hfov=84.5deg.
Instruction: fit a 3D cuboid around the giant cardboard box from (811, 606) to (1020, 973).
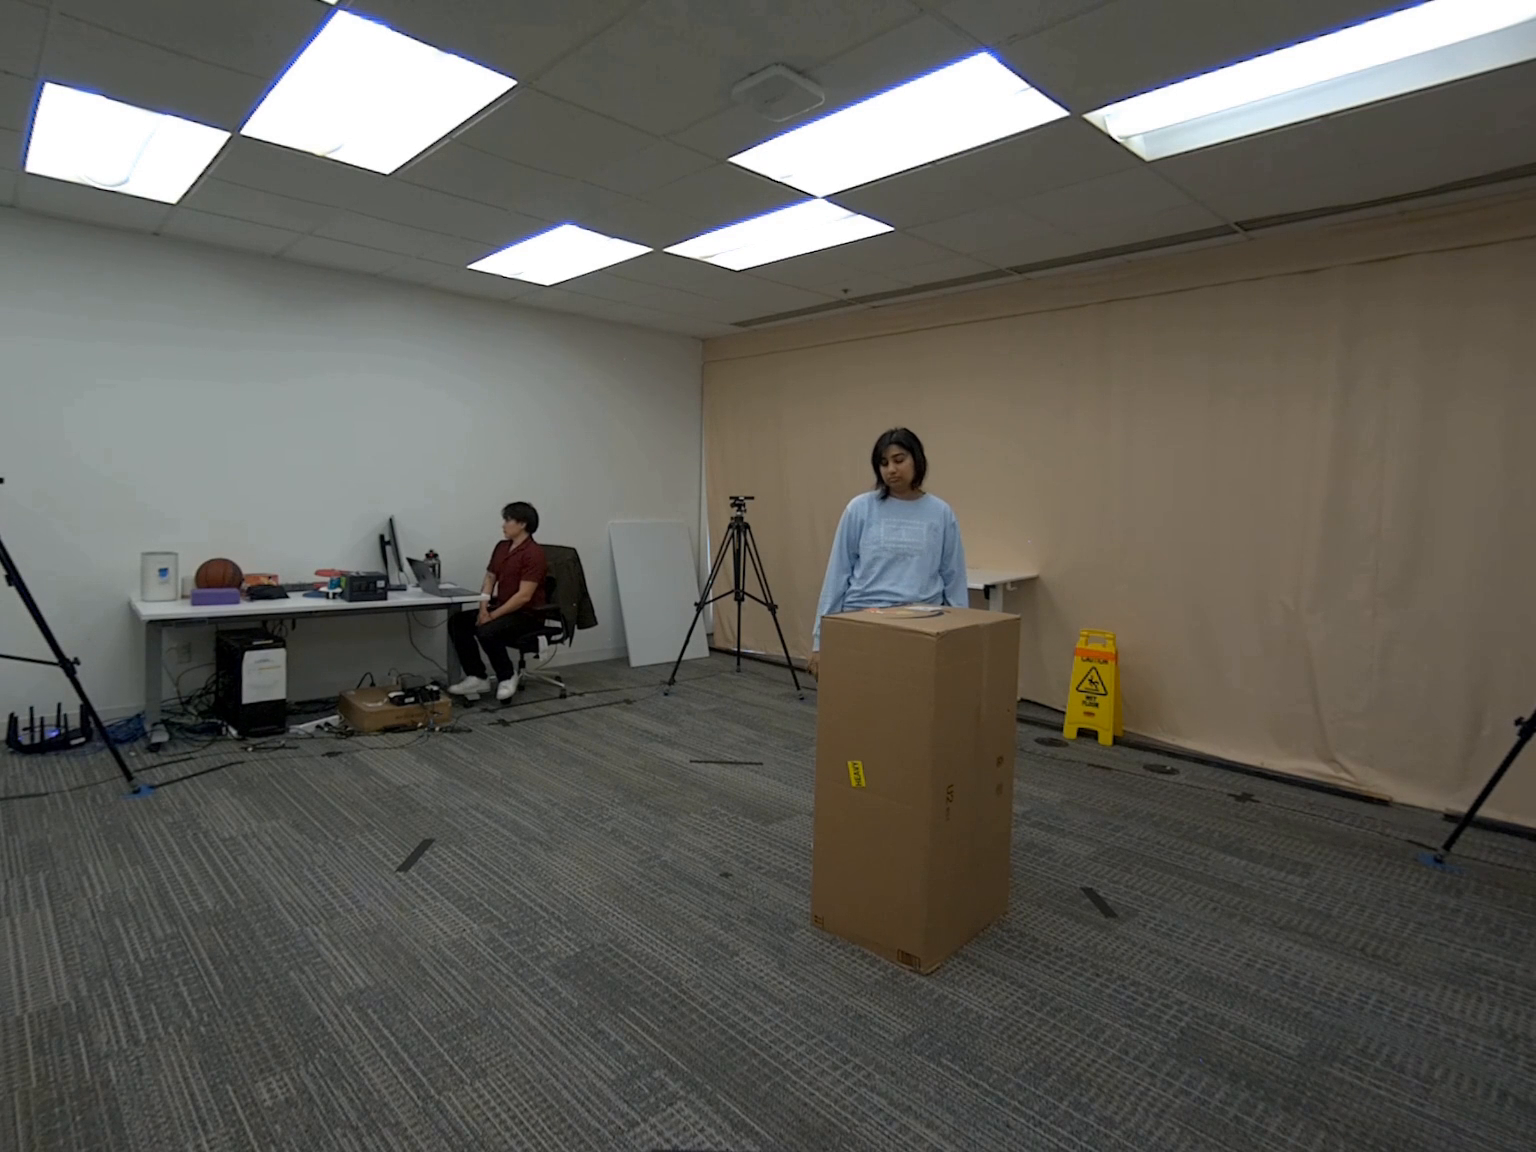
[{"bbox_3d":[0.487,0.636,2.796,0.458,1.025,0.570,4,4,43],"label":"giant cardboard box"}]
